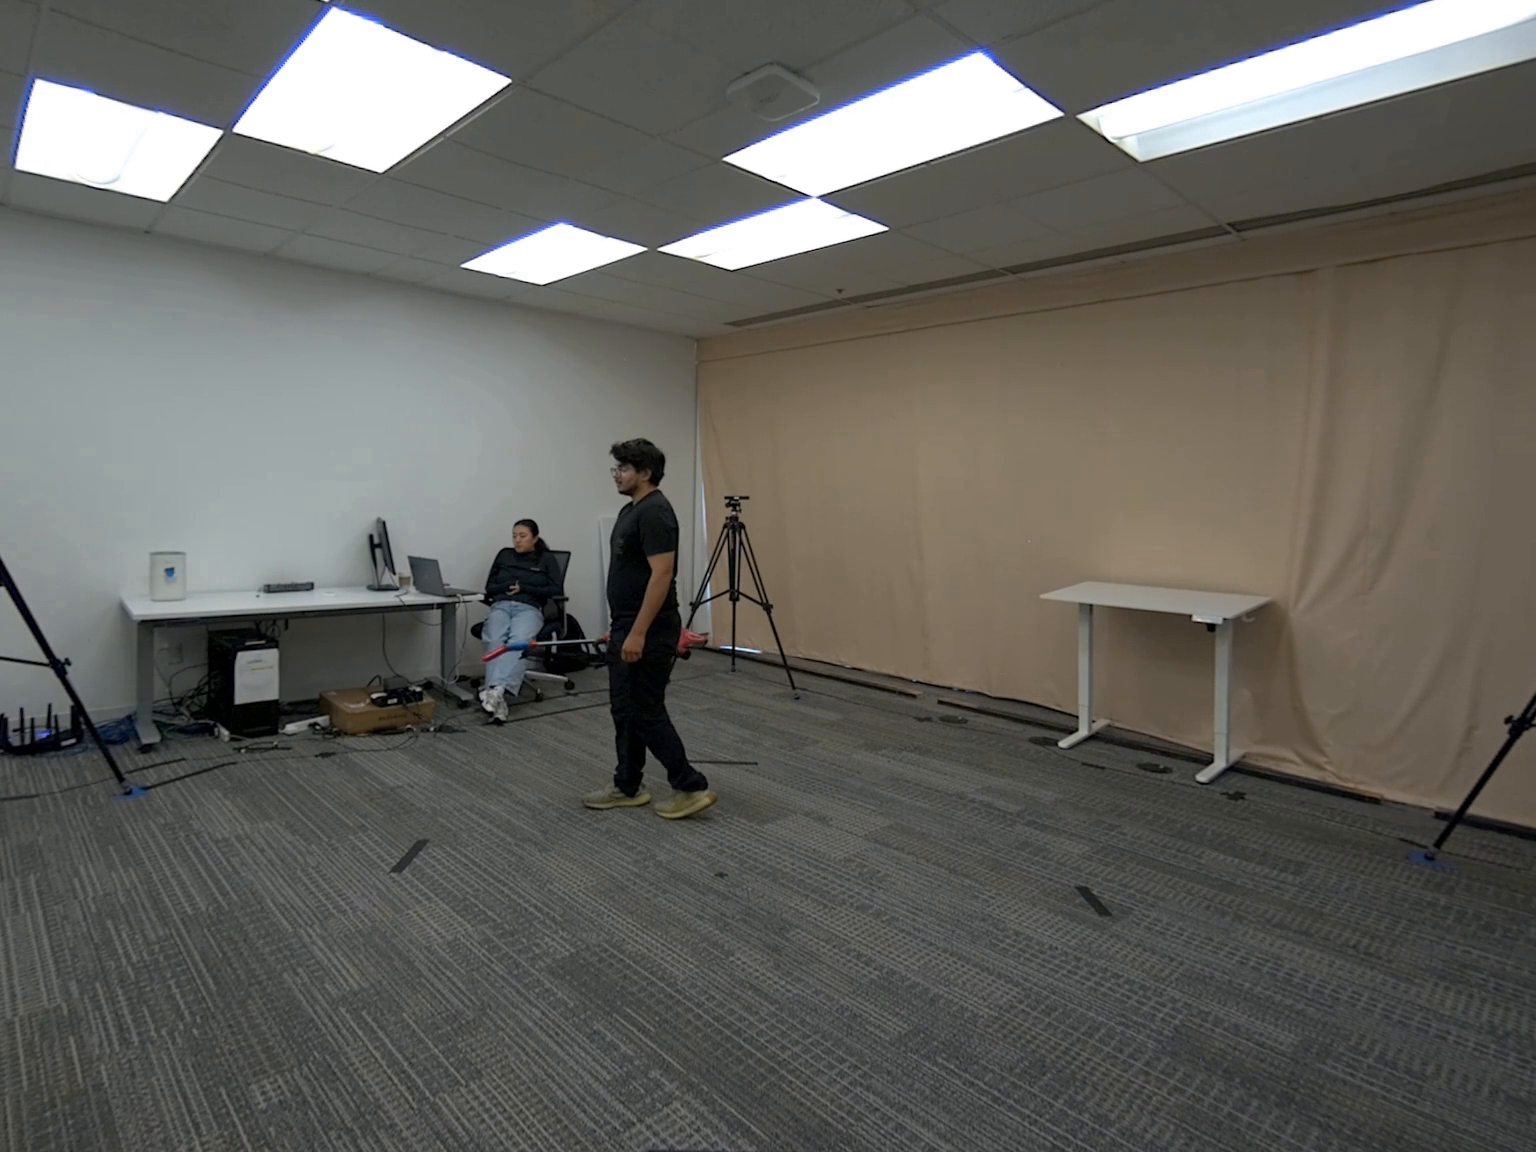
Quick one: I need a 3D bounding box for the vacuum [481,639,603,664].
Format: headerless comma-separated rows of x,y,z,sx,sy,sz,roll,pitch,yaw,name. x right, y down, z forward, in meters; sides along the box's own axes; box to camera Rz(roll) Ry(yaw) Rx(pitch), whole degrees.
-0.797,0.348,3.851,1.024,0.143,0.260,0,11,-42,vacuum
